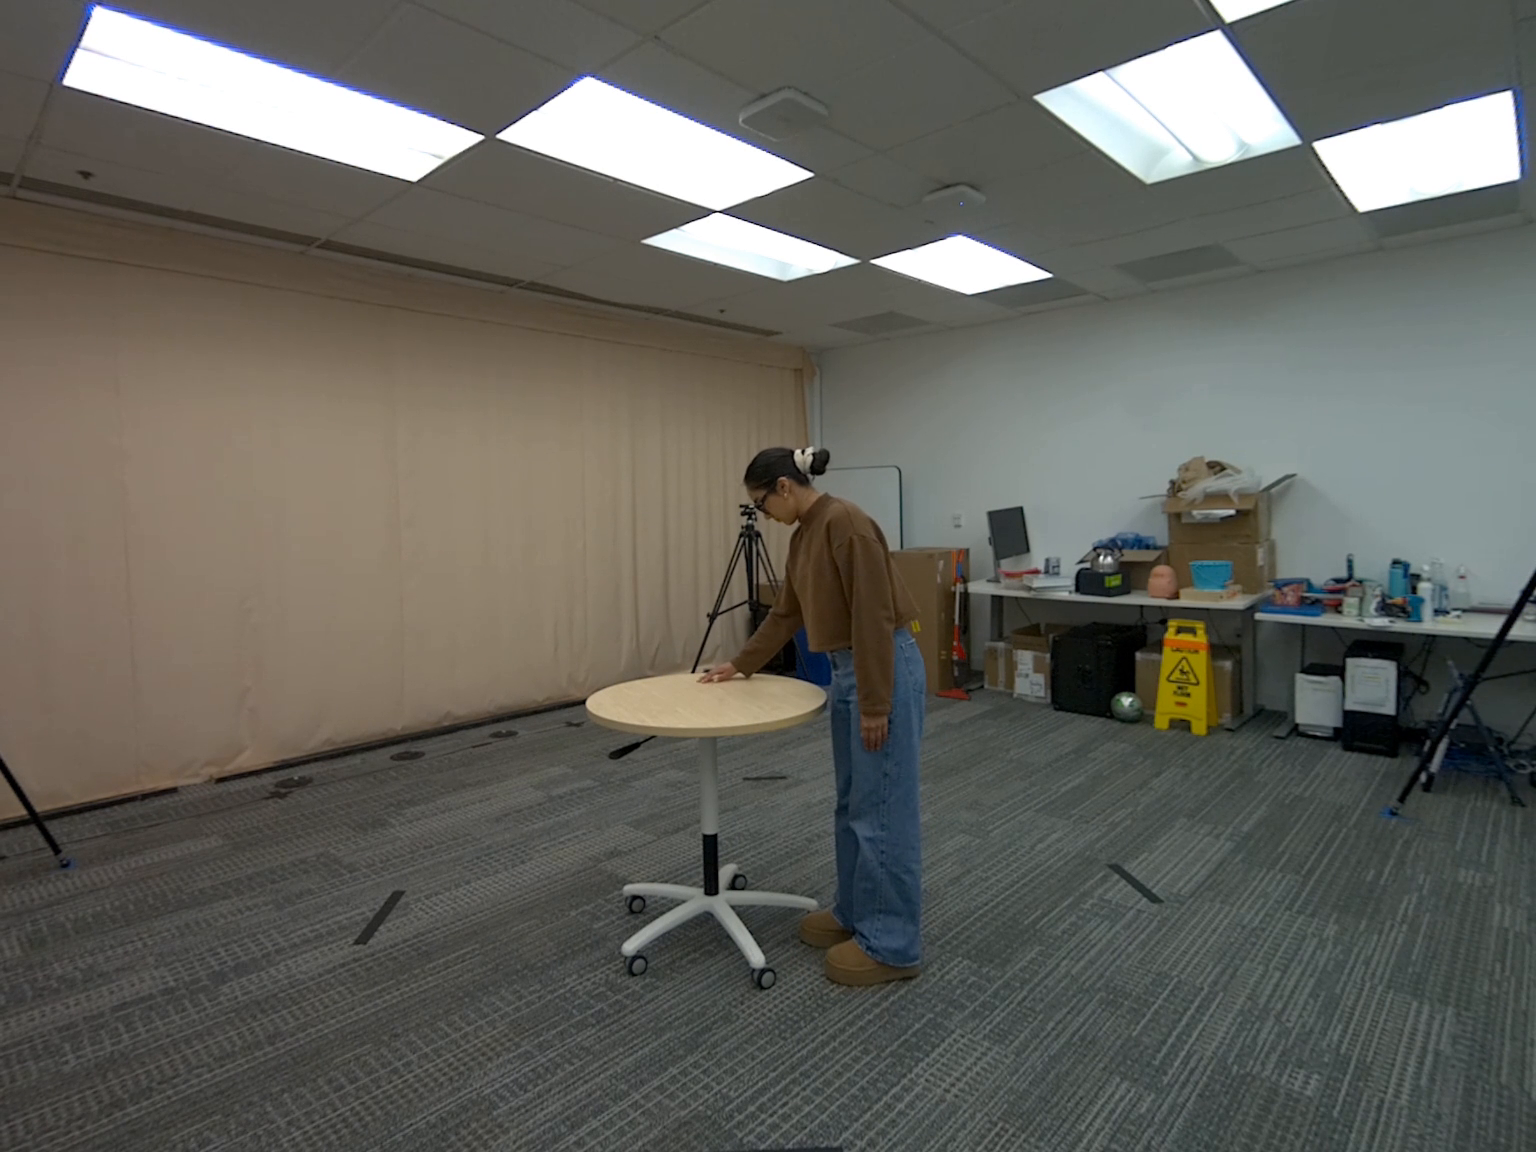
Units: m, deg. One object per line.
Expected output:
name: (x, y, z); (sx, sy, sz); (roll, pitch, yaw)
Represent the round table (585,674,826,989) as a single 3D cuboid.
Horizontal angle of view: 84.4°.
round table: (-0.190, 0.781, 2.708); (0.763, 0.792, 0.767); (-2, 4, -2)
